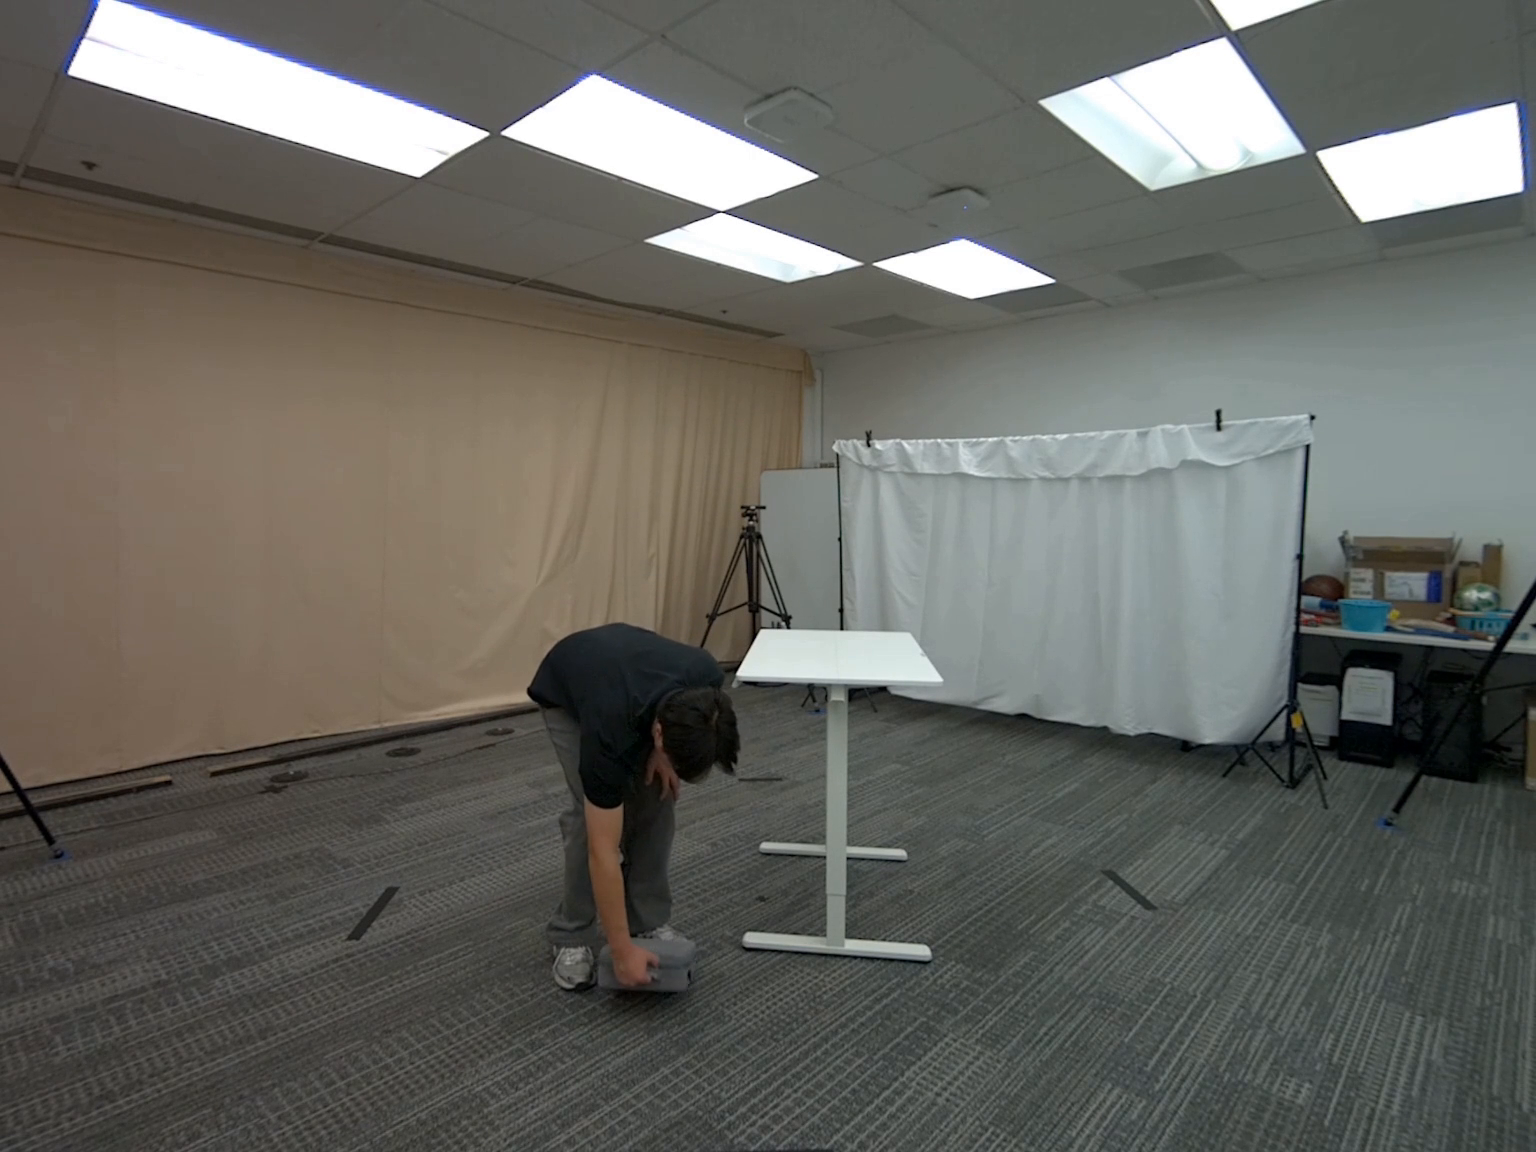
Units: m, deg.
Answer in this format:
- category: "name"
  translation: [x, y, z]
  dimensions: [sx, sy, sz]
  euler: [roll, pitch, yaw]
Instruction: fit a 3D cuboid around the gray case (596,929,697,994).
- category: "gray case"
  translation: [-0.344, 1.092, 2.418]
  dimensions: [0.264, 0.104, 0.284]
  euler: [0, -9, 3]
